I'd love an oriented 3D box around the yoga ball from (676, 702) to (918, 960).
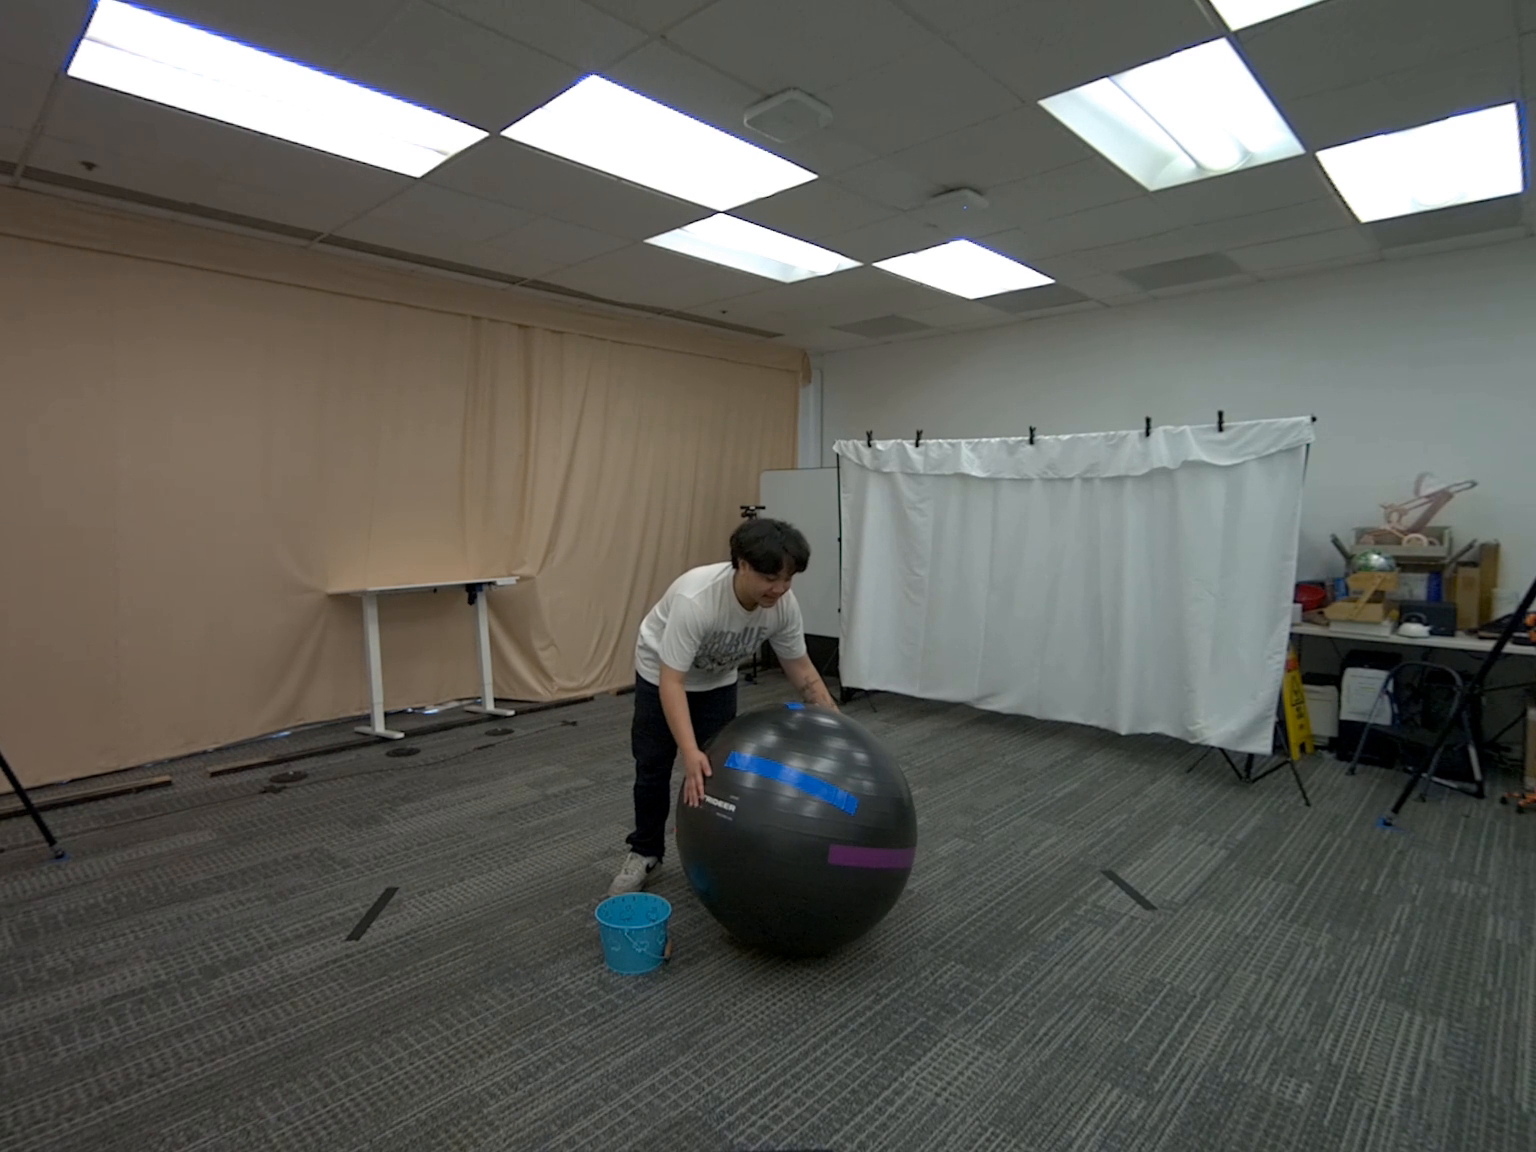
[{"bbox_3d":[0.095,0.798,2.685,0.757,0.756,0.760,0,4,-2],"label":"yoga ball"}]
